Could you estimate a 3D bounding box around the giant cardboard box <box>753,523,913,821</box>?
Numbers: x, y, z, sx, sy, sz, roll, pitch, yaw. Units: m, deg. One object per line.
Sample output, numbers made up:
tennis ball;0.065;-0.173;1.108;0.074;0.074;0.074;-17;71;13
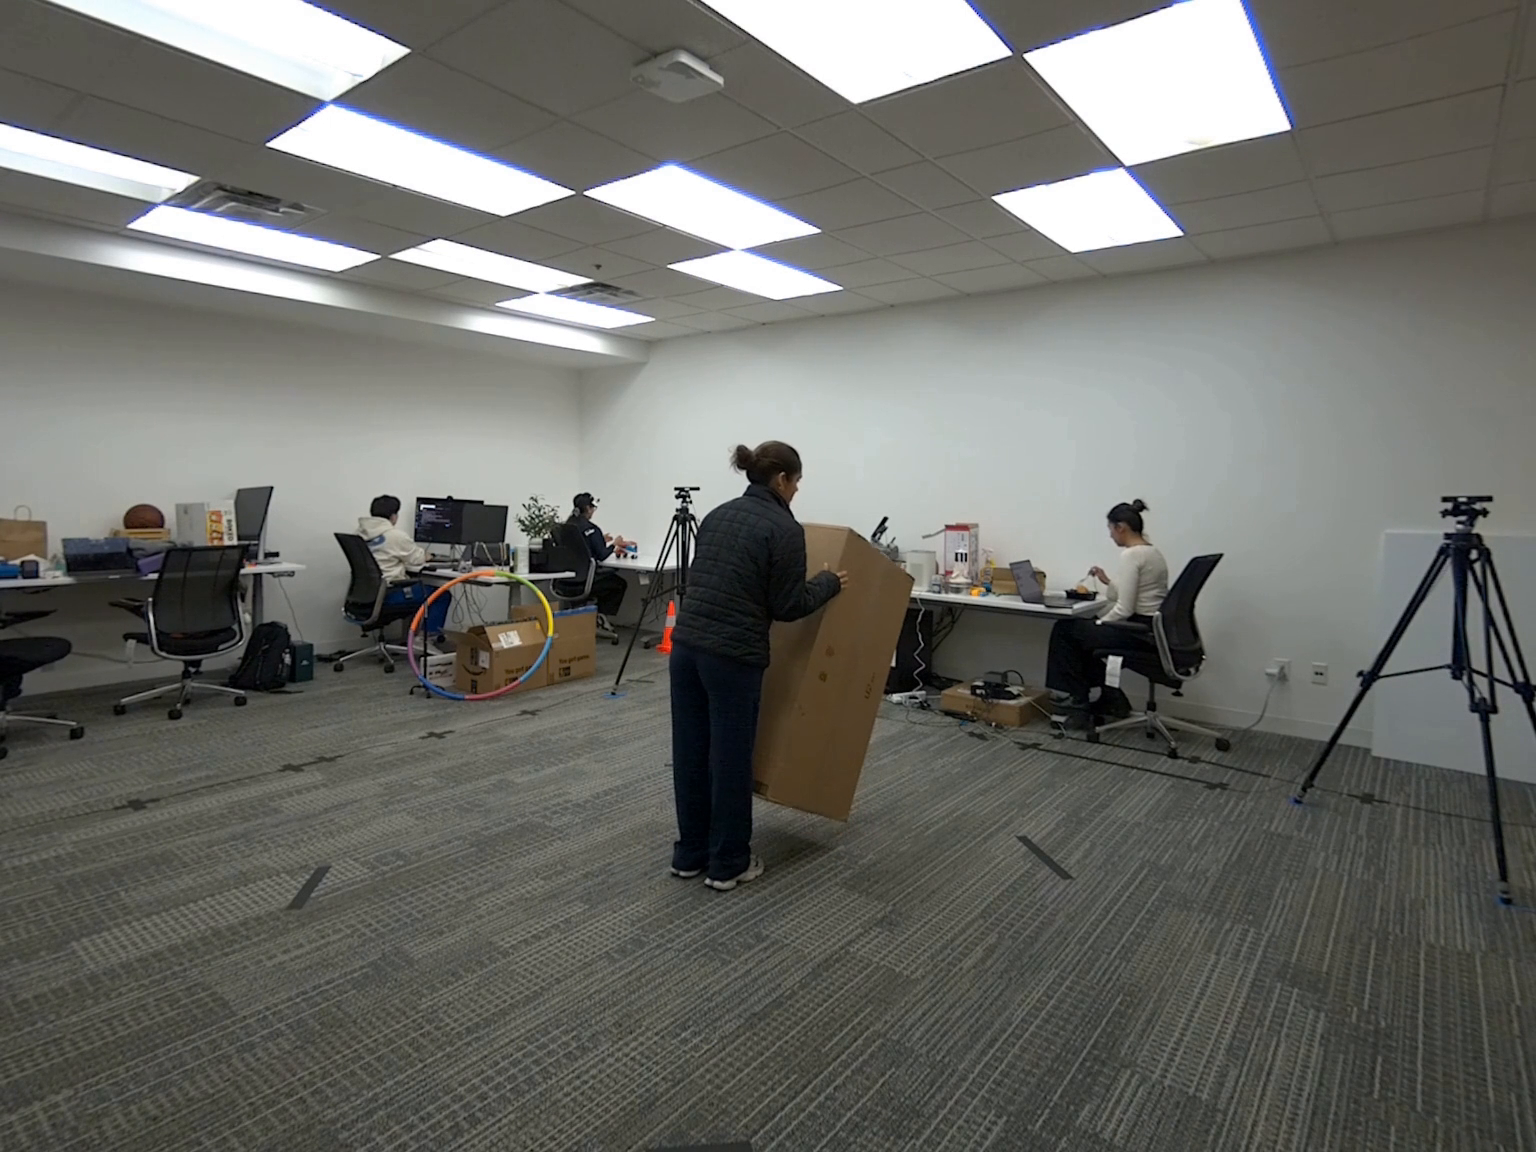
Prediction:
giant cardboard box;0.162;0.359;3.387;0.441;1.033;0.553;8;-16;41
